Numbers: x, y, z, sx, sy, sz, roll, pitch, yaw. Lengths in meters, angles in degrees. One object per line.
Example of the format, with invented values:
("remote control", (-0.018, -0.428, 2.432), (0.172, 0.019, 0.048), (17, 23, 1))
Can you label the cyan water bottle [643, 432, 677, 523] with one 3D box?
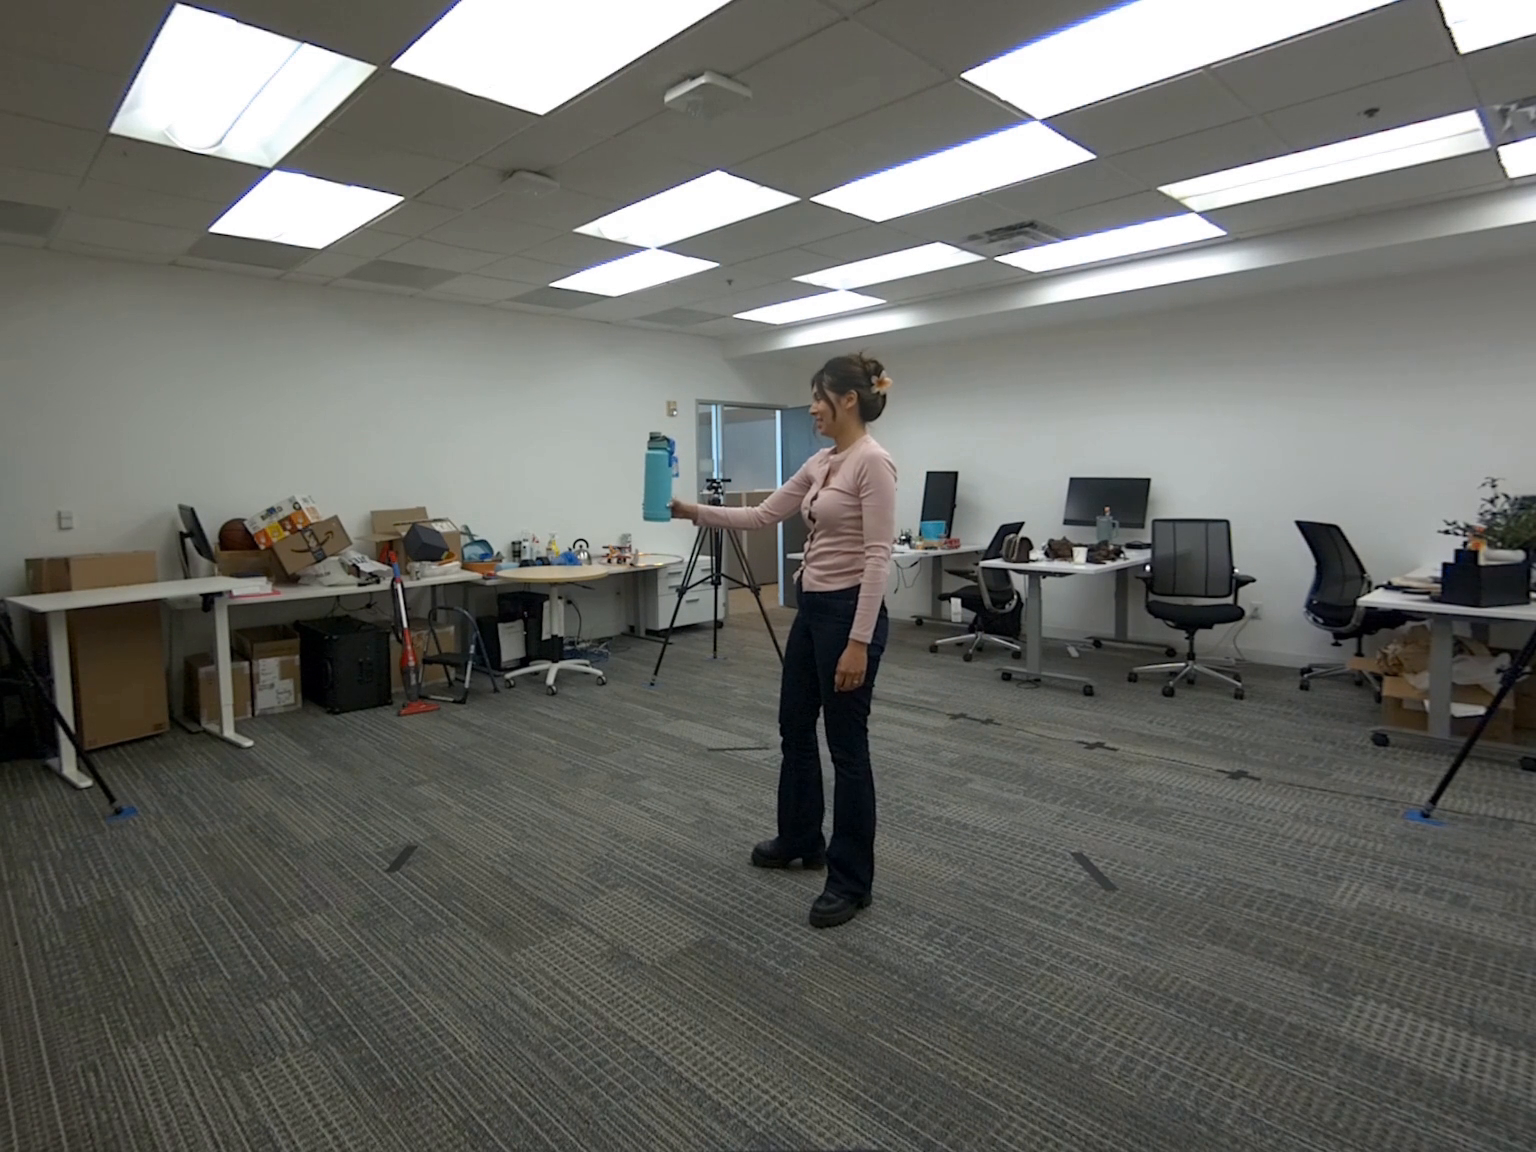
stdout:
("cyan water bottle", (-0.341, -0.323, 2.728), (0.092, 0.282, 0.093), (4, 4, -2))
